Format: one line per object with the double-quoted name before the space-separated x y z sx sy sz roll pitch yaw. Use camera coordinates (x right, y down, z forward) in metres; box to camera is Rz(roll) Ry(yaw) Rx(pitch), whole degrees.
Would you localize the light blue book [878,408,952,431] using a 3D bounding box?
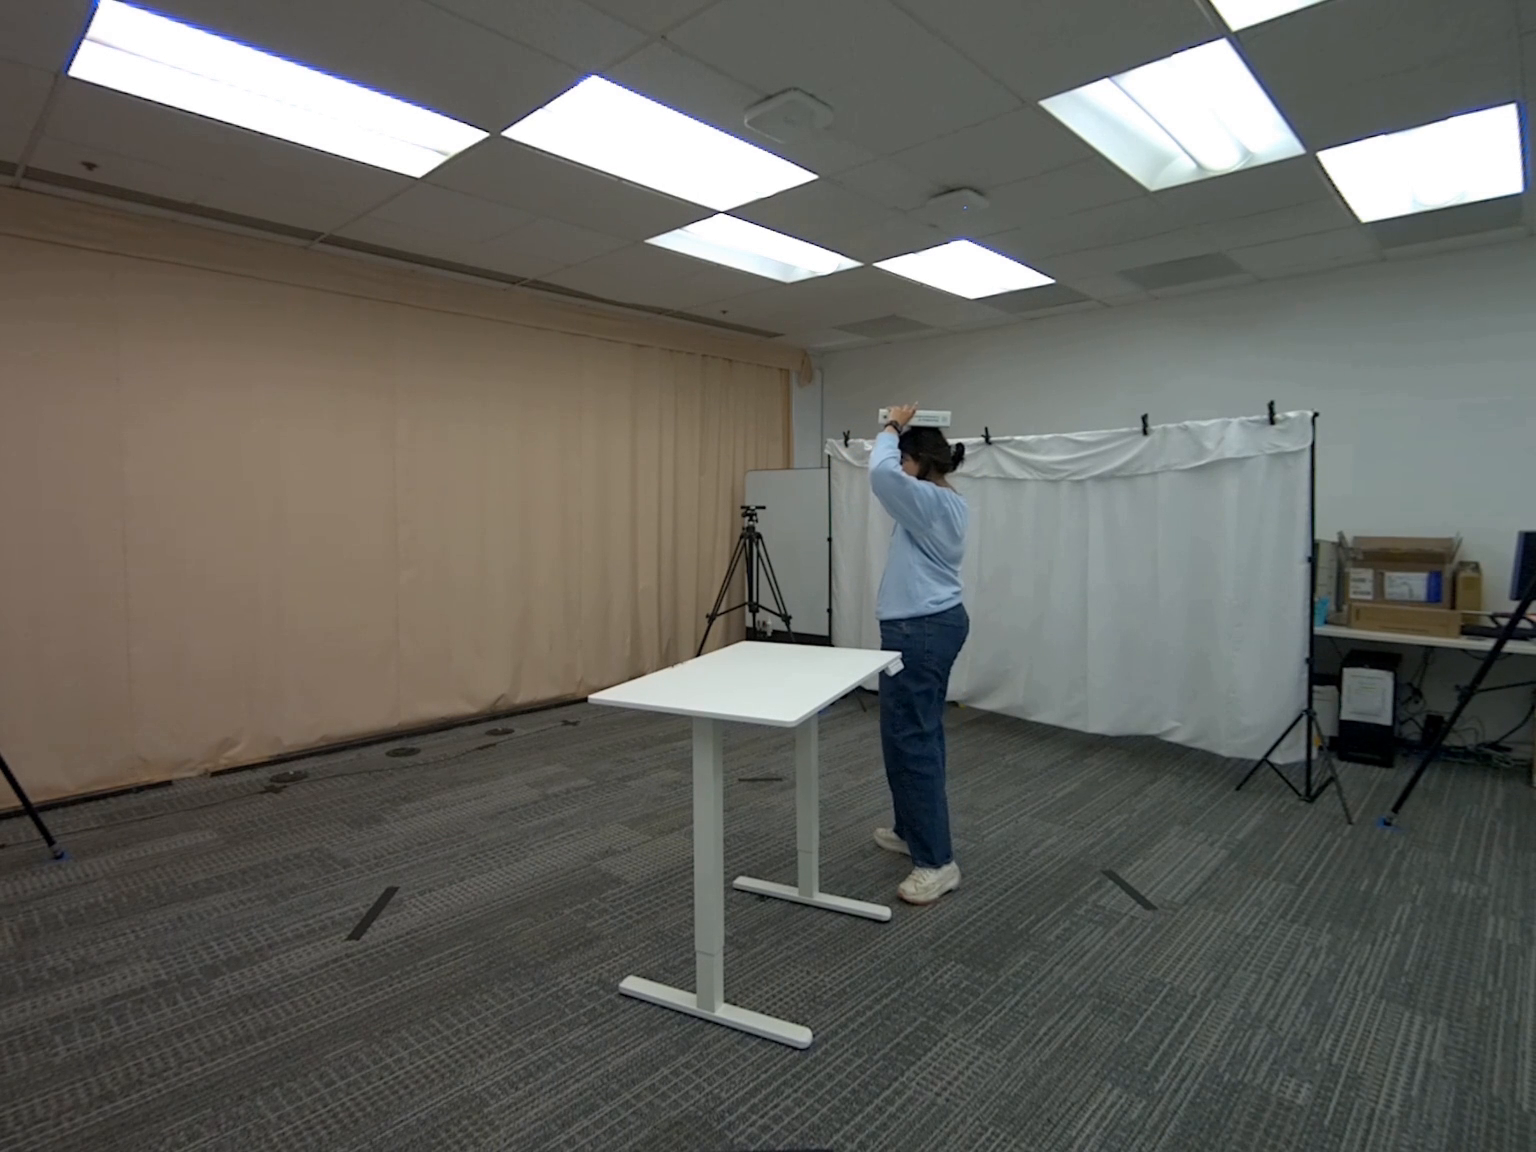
"light blue book" 0.557 -0.590 3.185 0.261 0.058 0.192 -2 10 0
